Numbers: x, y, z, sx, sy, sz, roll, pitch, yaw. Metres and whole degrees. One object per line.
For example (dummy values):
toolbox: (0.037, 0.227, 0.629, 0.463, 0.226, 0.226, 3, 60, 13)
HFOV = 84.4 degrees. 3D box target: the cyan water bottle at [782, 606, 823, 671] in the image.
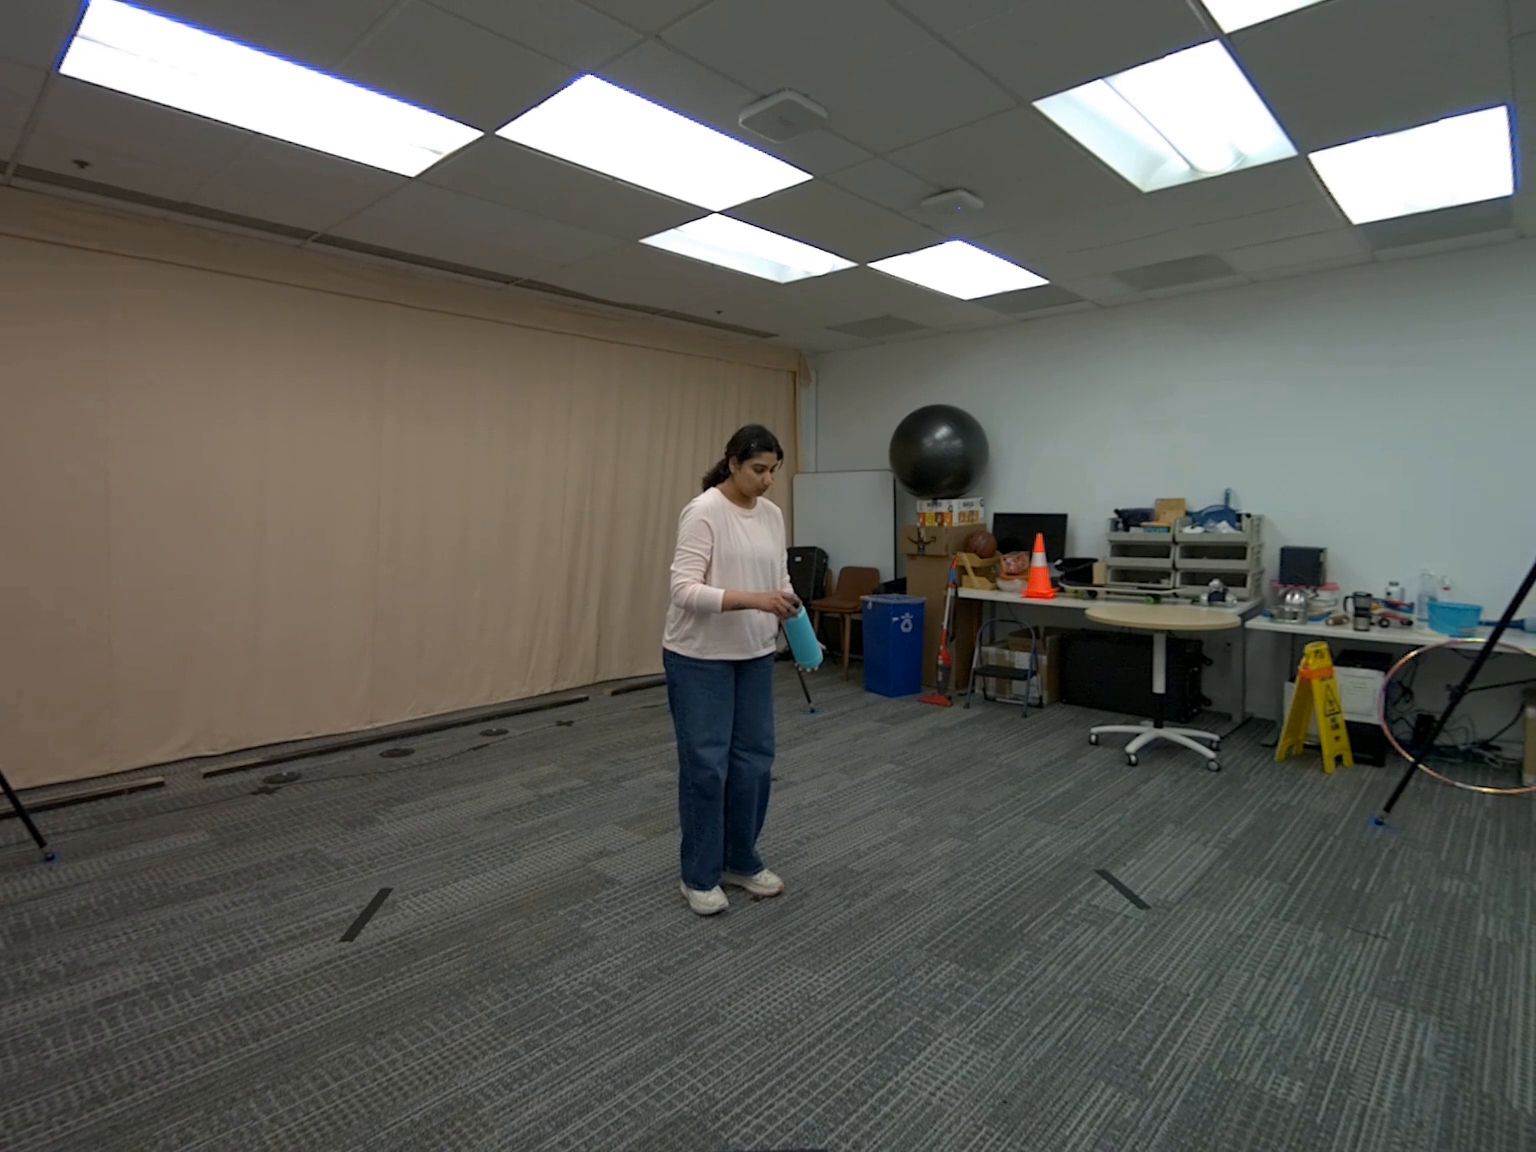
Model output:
cyan water bottle: (0.095, 0.180, 2.827, 0.093, 0.276, 0.094, -16, 29, 8)
